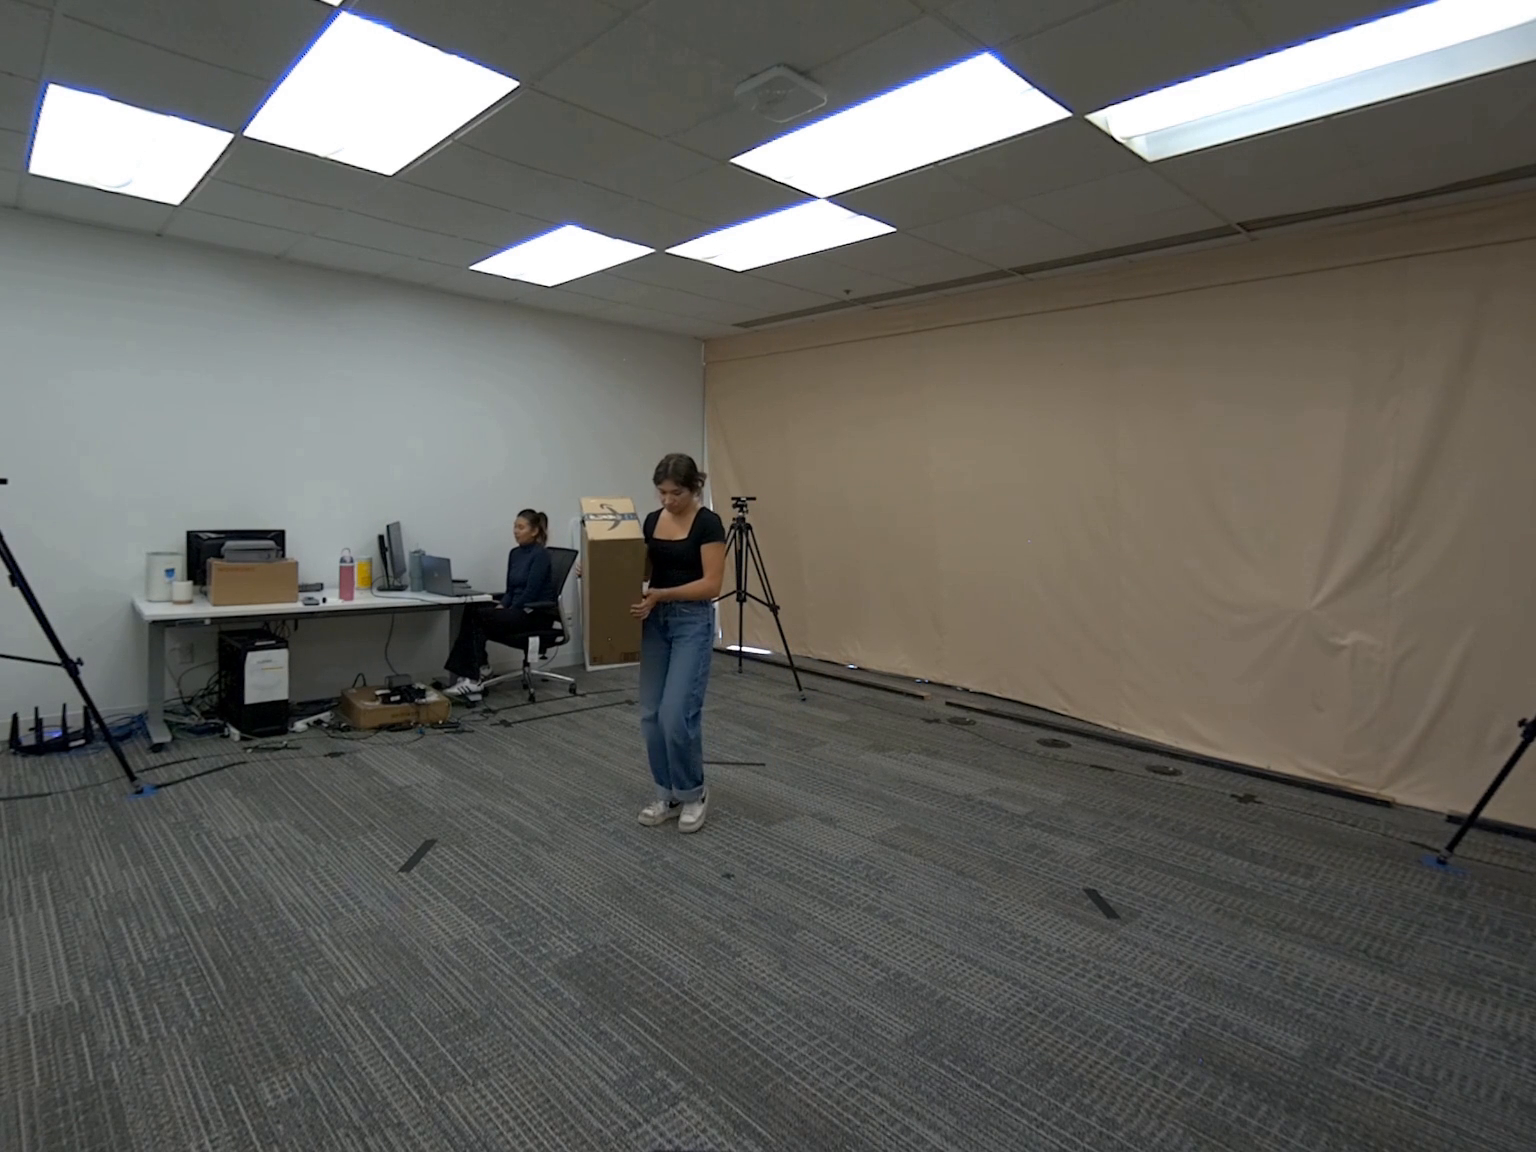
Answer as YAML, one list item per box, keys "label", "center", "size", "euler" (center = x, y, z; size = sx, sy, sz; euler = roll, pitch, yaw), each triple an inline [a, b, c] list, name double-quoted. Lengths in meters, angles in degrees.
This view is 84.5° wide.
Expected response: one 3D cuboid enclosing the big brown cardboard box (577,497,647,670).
- label: "big brown cardboard box"
  center: [-0.666, 0.010, 3.489]
  size: [0.230, 0.580, 0.429]
  euler: [-3, 26, -16]
